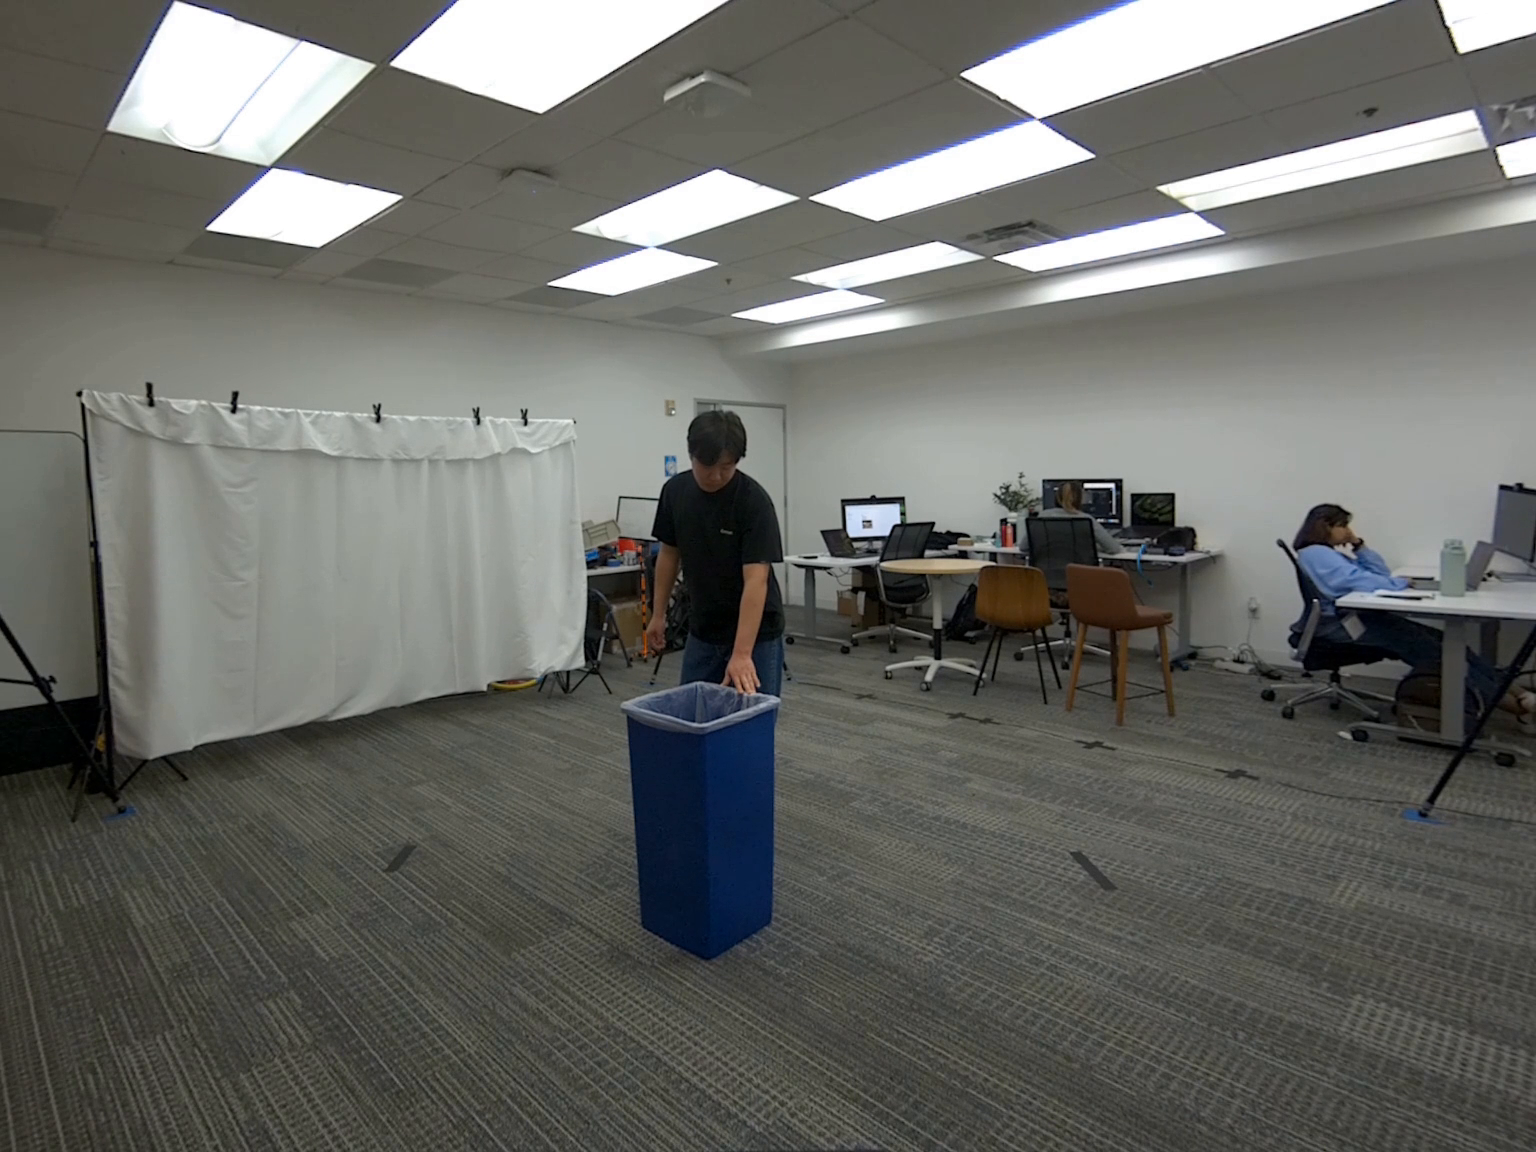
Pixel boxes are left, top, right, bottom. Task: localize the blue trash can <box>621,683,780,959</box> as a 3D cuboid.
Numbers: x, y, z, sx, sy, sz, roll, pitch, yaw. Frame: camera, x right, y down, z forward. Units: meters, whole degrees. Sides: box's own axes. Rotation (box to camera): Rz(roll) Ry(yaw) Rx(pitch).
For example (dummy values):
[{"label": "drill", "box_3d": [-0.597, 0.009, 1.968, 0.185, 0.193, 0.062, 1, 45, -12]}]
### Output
[{"label": "blue trash can", "box_3d": [-0.201, 0.744, 2.653, 0.389, 0.711, 0.364, 2, 5, 40]}]
